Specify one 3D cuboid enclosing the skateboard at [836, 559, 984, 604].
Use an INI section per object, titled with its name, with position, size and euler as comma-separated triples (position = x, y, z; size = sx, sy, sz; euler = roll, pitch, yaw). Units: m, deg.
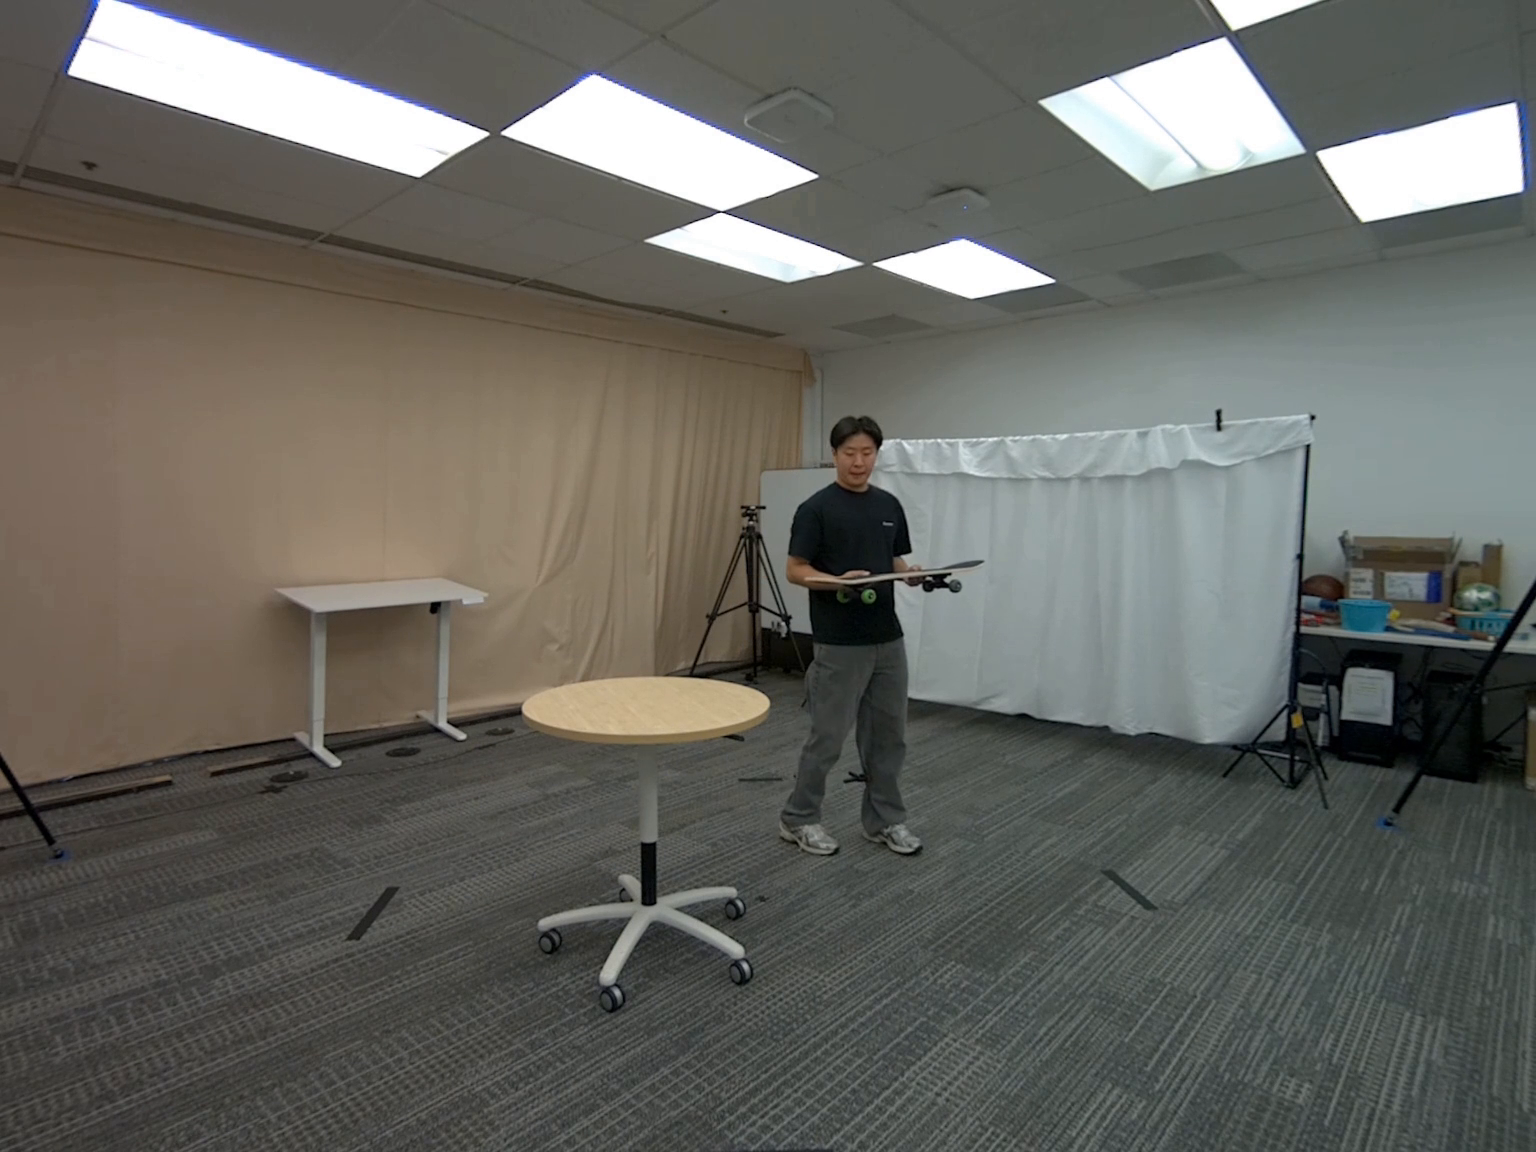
[skateboard]
position = 0.488, 0.033, 3.154
size = 0.767, 0.110, 0.198
euler = -6, 1, -26
